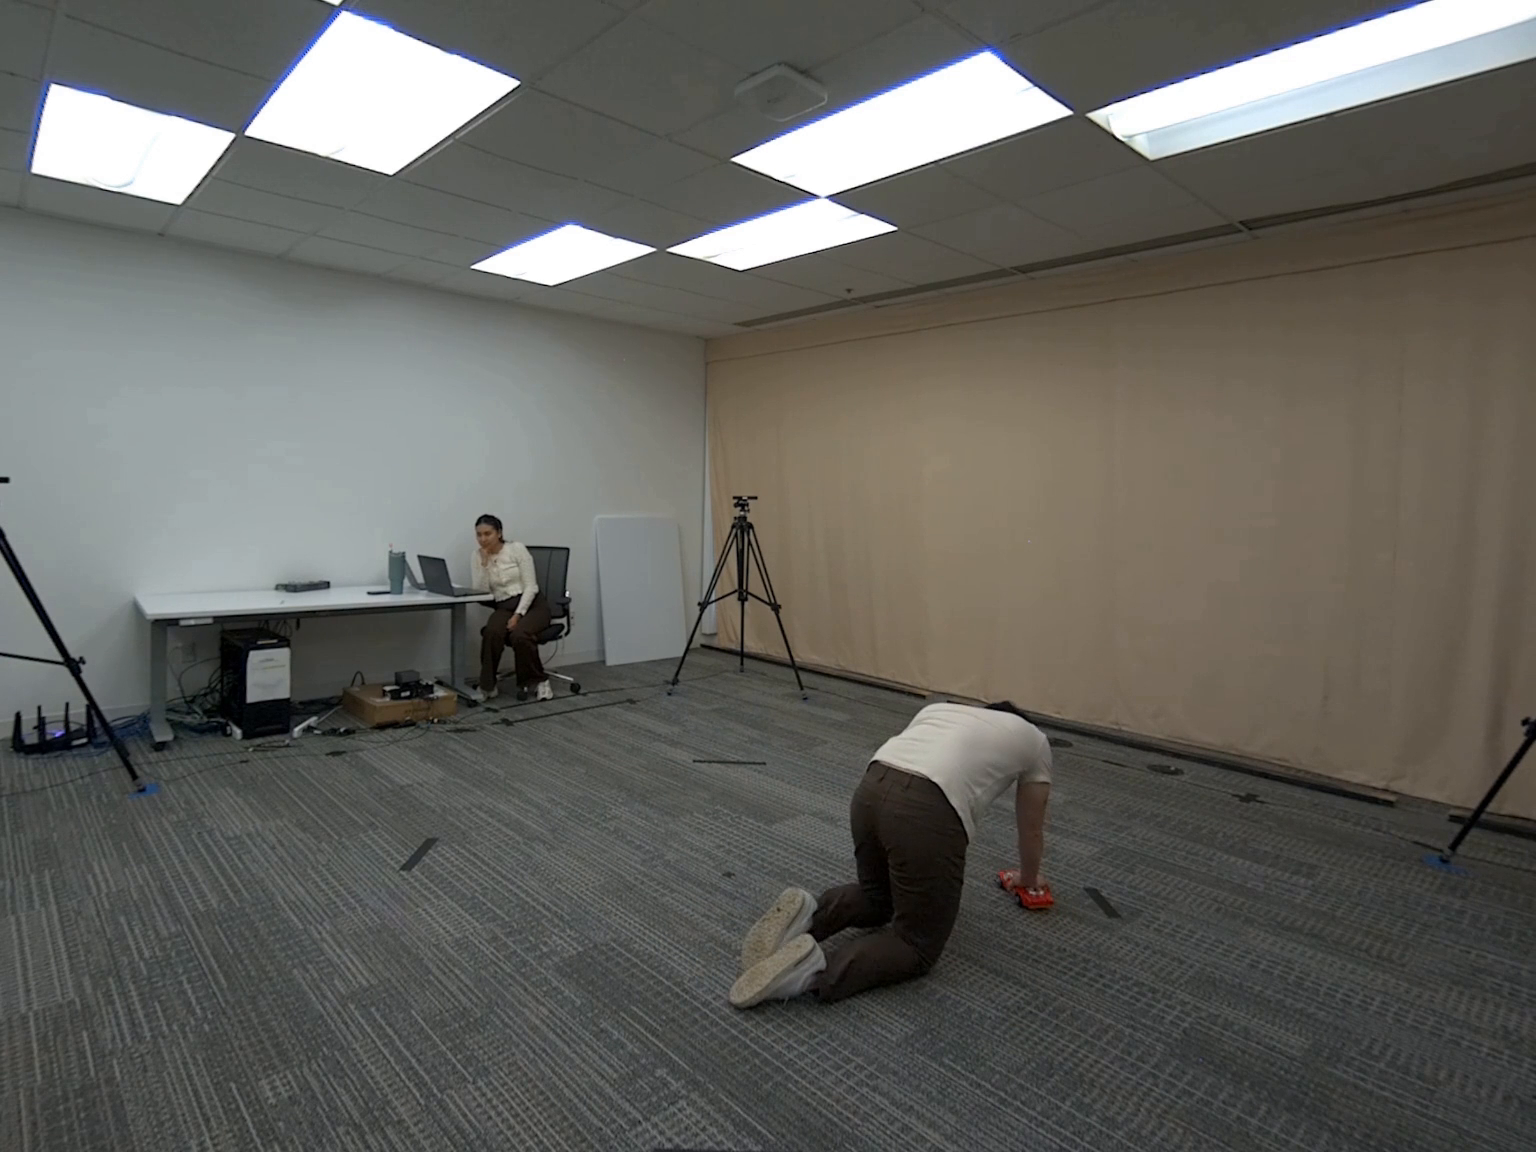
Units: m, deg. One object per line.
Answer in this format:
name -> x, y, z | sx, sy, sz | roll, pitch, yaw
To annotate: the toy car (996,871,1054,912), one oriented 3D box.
toy car -> 0.906, 1.113, 2.978 | 0.129, 0.083, 0.255 | 1, -4, -11
